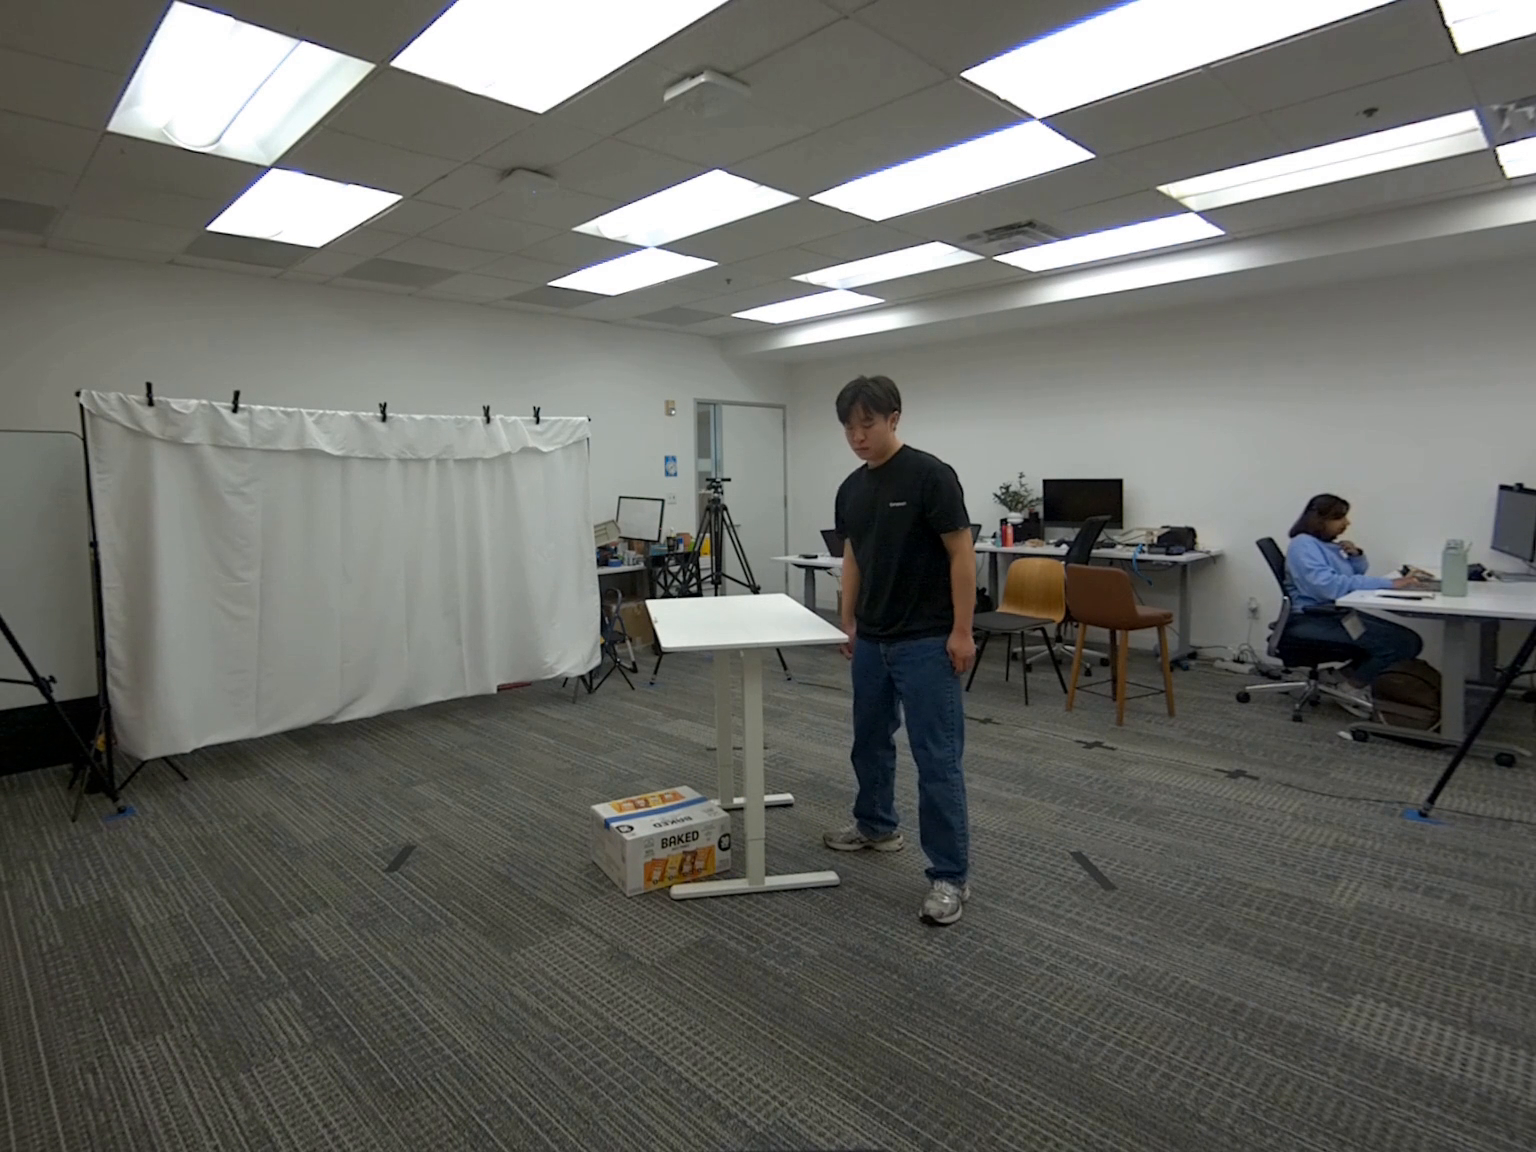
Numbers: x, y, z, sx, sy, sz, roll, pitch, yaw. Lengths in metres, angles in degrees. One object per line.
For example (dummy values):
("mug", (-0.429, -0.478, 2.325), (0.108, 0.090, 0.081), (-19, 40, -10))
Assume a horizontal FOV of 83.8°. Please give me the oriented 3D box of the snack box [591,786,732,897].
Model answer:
("snack box", (-0.390, 0.948, 3.090), (0.395, 0.205, 0.350), (-4, 7, -31))
